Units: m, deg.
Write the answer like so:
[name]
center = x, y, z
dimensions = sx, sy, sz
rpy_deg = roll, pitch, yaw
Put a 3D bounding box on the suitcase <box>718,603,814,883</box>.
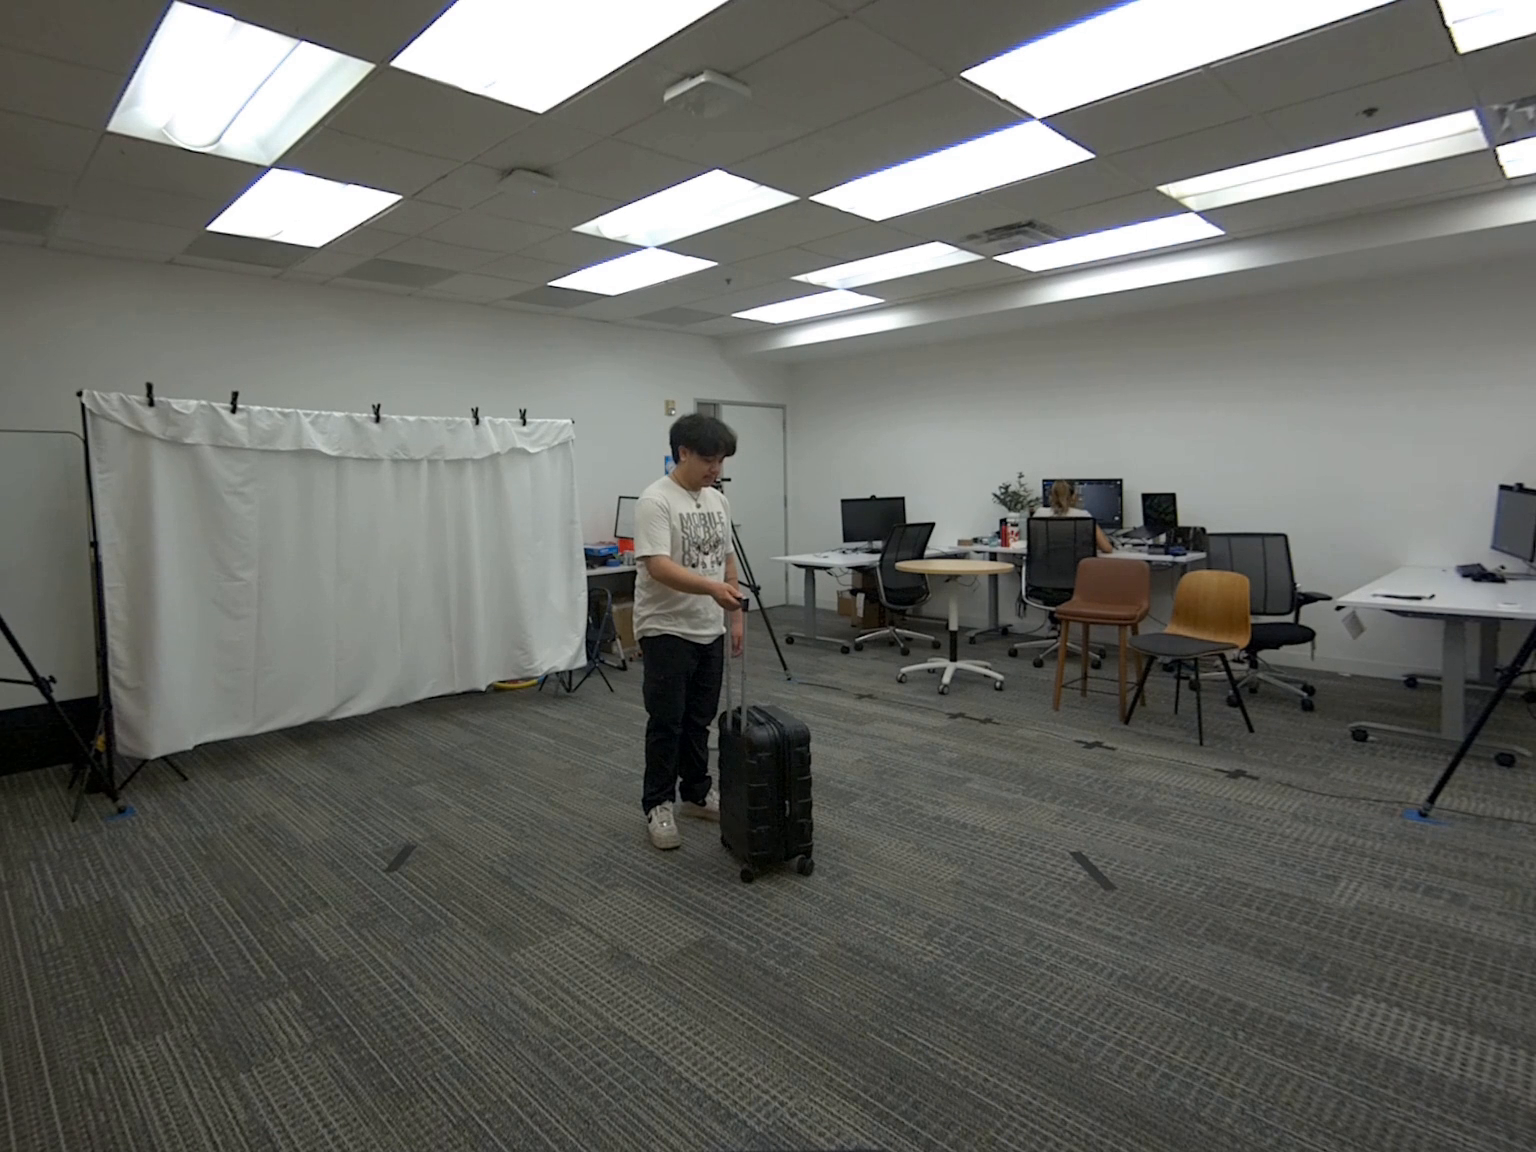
[suitcase]
center = -0.011, 0.570, 3.104
dimensions = 0.253, 0.975, 0.392
rpy_deg = -1, 5, -19
